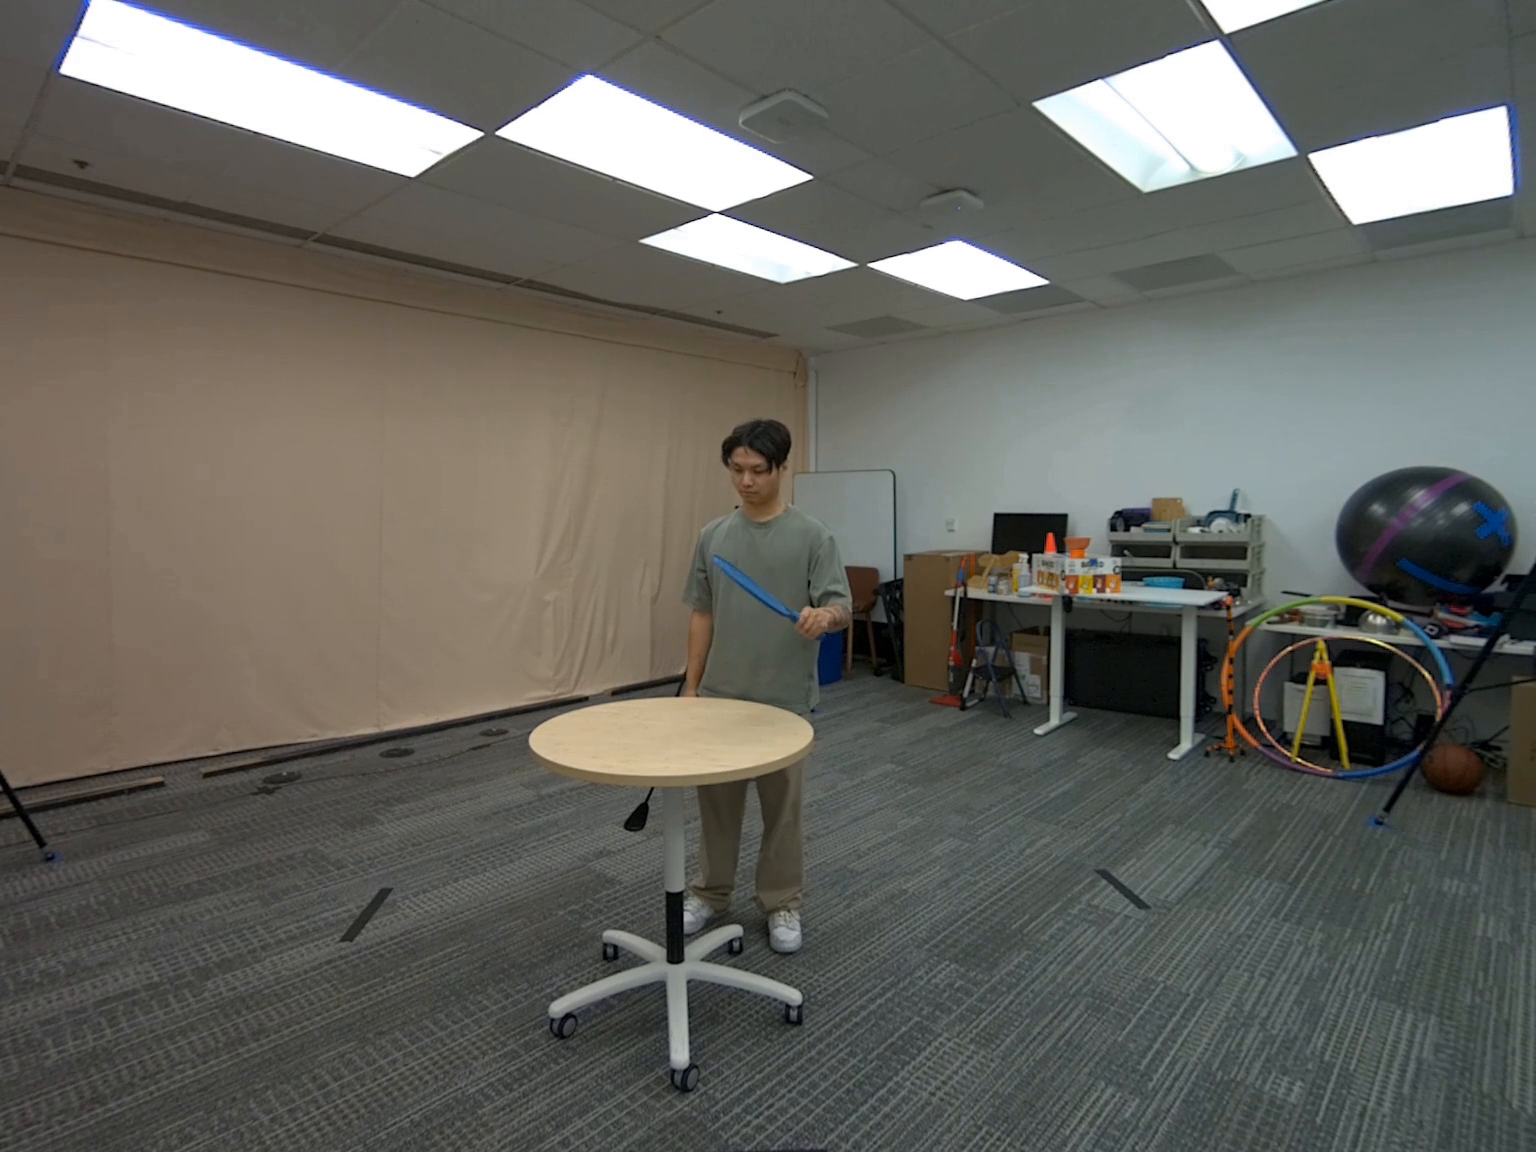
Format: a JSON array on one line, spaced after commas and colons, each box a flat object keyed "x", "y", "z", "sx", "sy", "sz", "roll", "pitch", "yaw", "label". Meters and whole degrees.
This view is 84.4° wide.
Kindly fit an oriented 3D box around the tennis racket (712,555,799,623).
[{"x": 0.019, "y": 0.073, "z": 2.211, "sx": 0.417, "sy": 0.032, "sz": 0.221, "roll": 45, "pitch": 6, "yaw": -46, "label": "tennis racket"}]
